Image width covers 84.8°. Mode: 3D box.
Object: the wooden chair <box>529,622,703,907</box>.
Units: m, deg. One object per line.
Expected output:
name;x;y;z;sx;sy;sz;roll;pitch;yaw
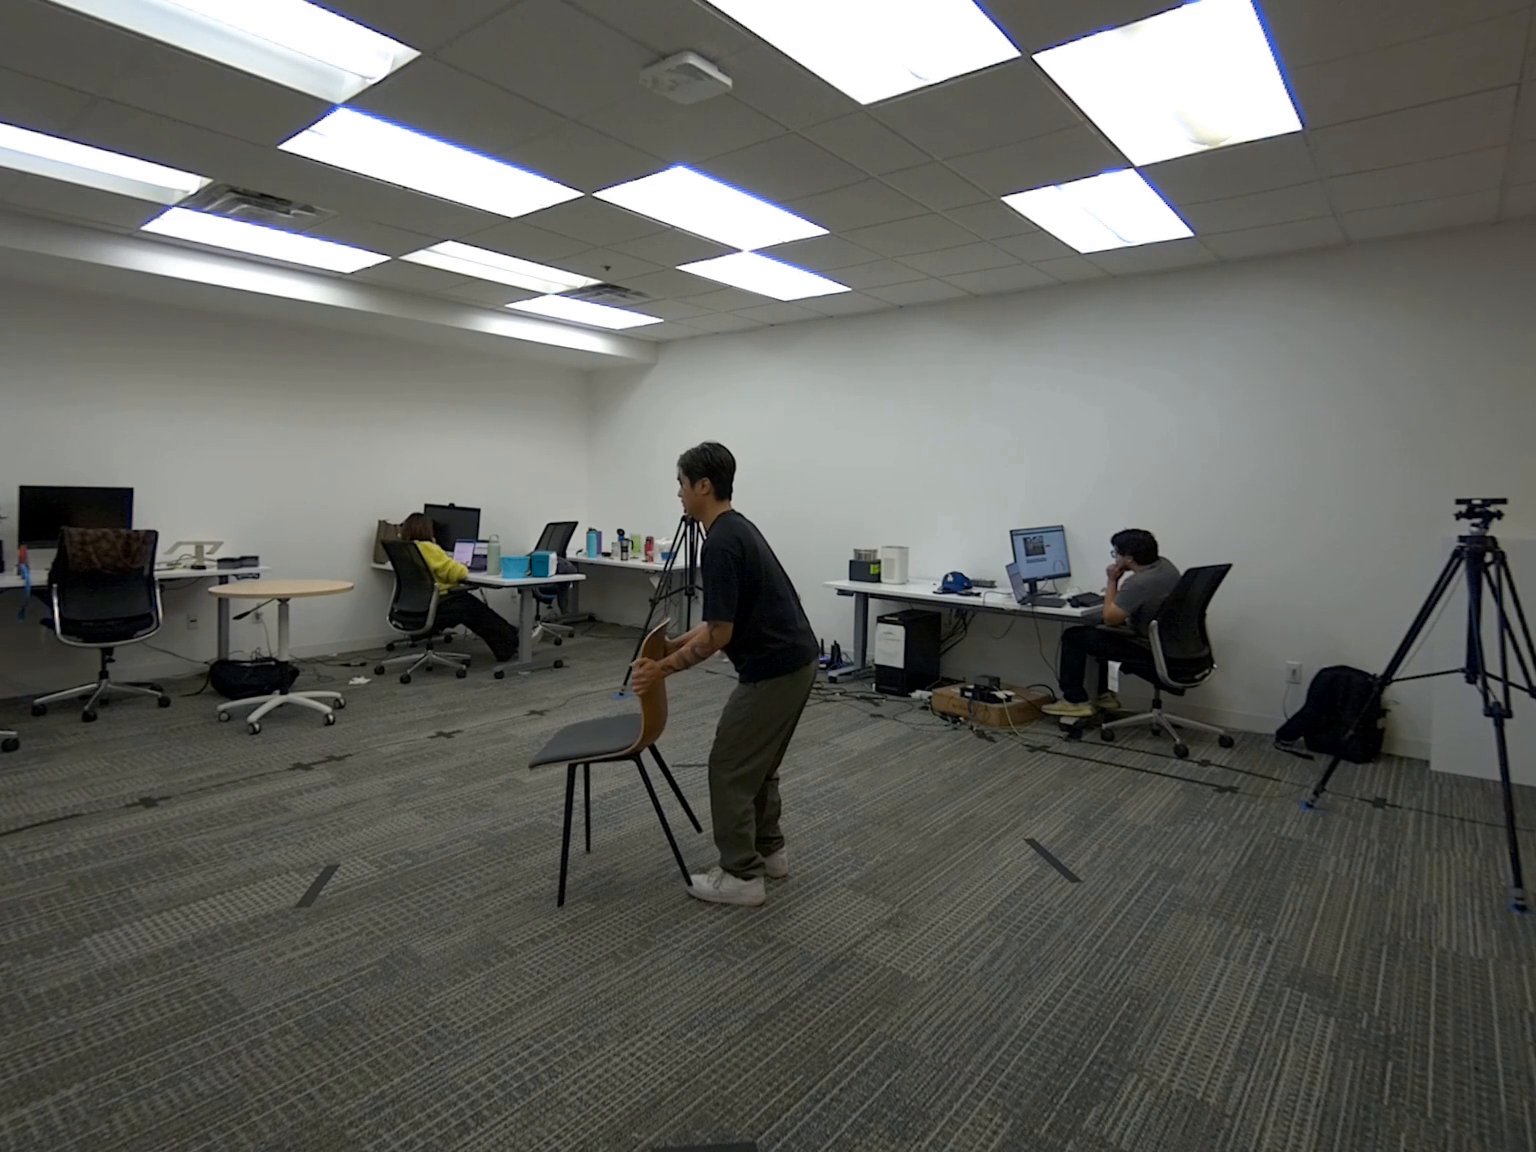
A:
wooden chair;-0.569;0.615;2.997;0.525;0.874;0.478;-6;4;3
